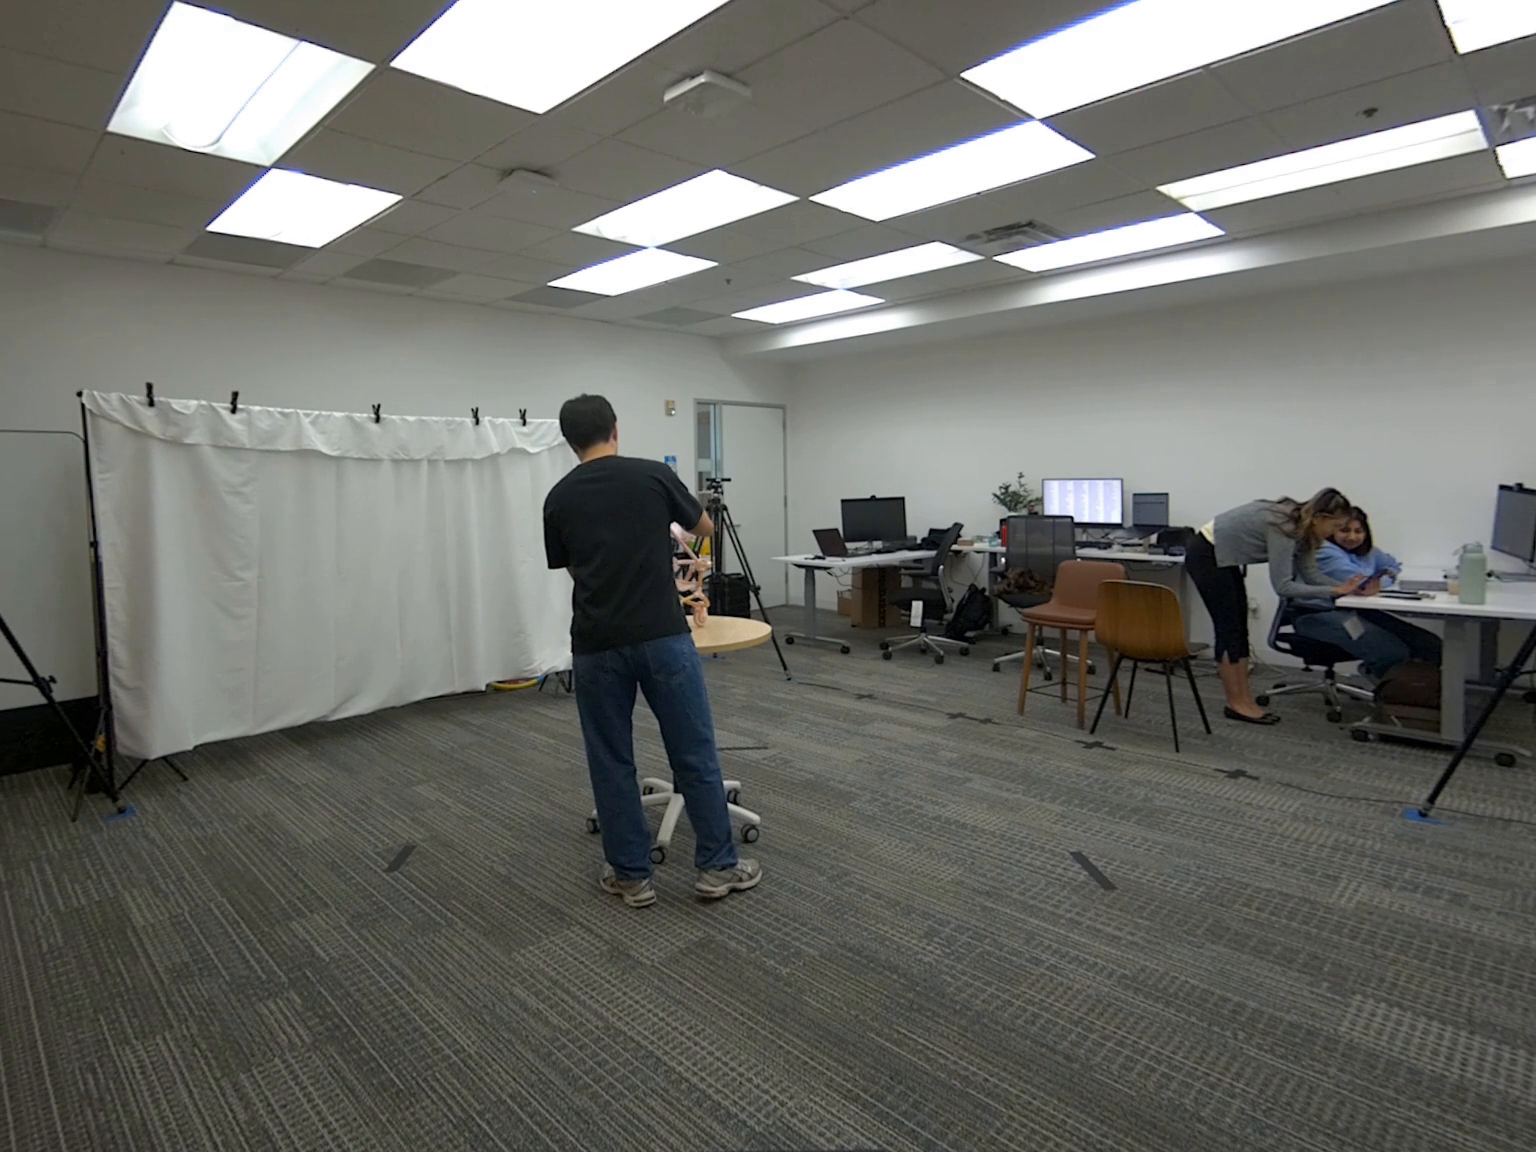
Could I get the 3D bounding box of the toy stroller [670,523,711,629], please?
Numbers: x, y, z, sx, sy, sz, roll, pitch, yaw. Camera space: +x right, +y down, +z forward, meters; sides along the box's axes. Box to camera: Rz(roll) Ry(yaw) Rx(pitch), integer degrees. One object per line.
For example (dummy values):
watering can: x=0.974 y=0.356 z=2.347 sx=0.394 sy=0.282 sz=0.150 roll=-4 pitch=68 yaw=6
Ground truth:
toy stroller: x=-0.381 y=-0.042 z=3.392 sx=0.333 sy=0.533 sz=0.289 roll=-6 pitch=5 yaw=-37
